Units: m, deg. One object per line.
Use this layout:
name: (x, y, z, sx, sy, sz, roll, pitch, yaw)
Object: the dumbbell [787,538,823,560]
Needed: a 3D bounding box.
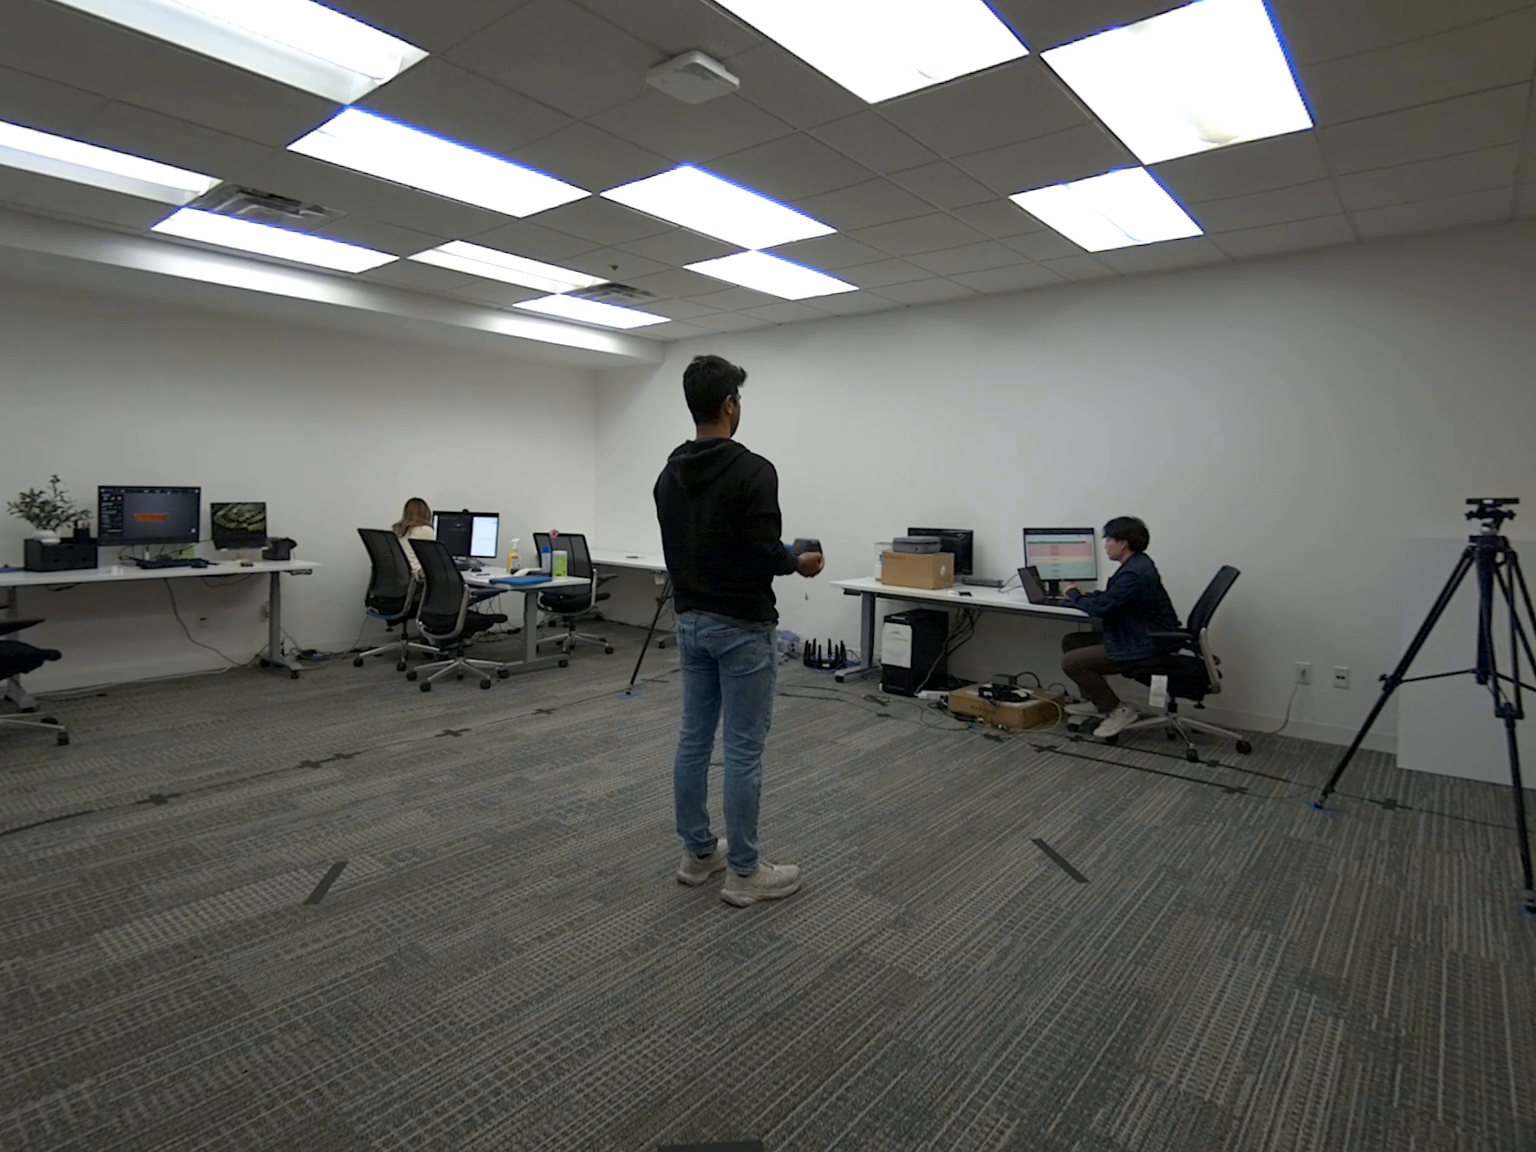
dumbbell: (0.040, -0.094, 3.156, 0.304, 0.119, 0.108, 8, 37, 40)
